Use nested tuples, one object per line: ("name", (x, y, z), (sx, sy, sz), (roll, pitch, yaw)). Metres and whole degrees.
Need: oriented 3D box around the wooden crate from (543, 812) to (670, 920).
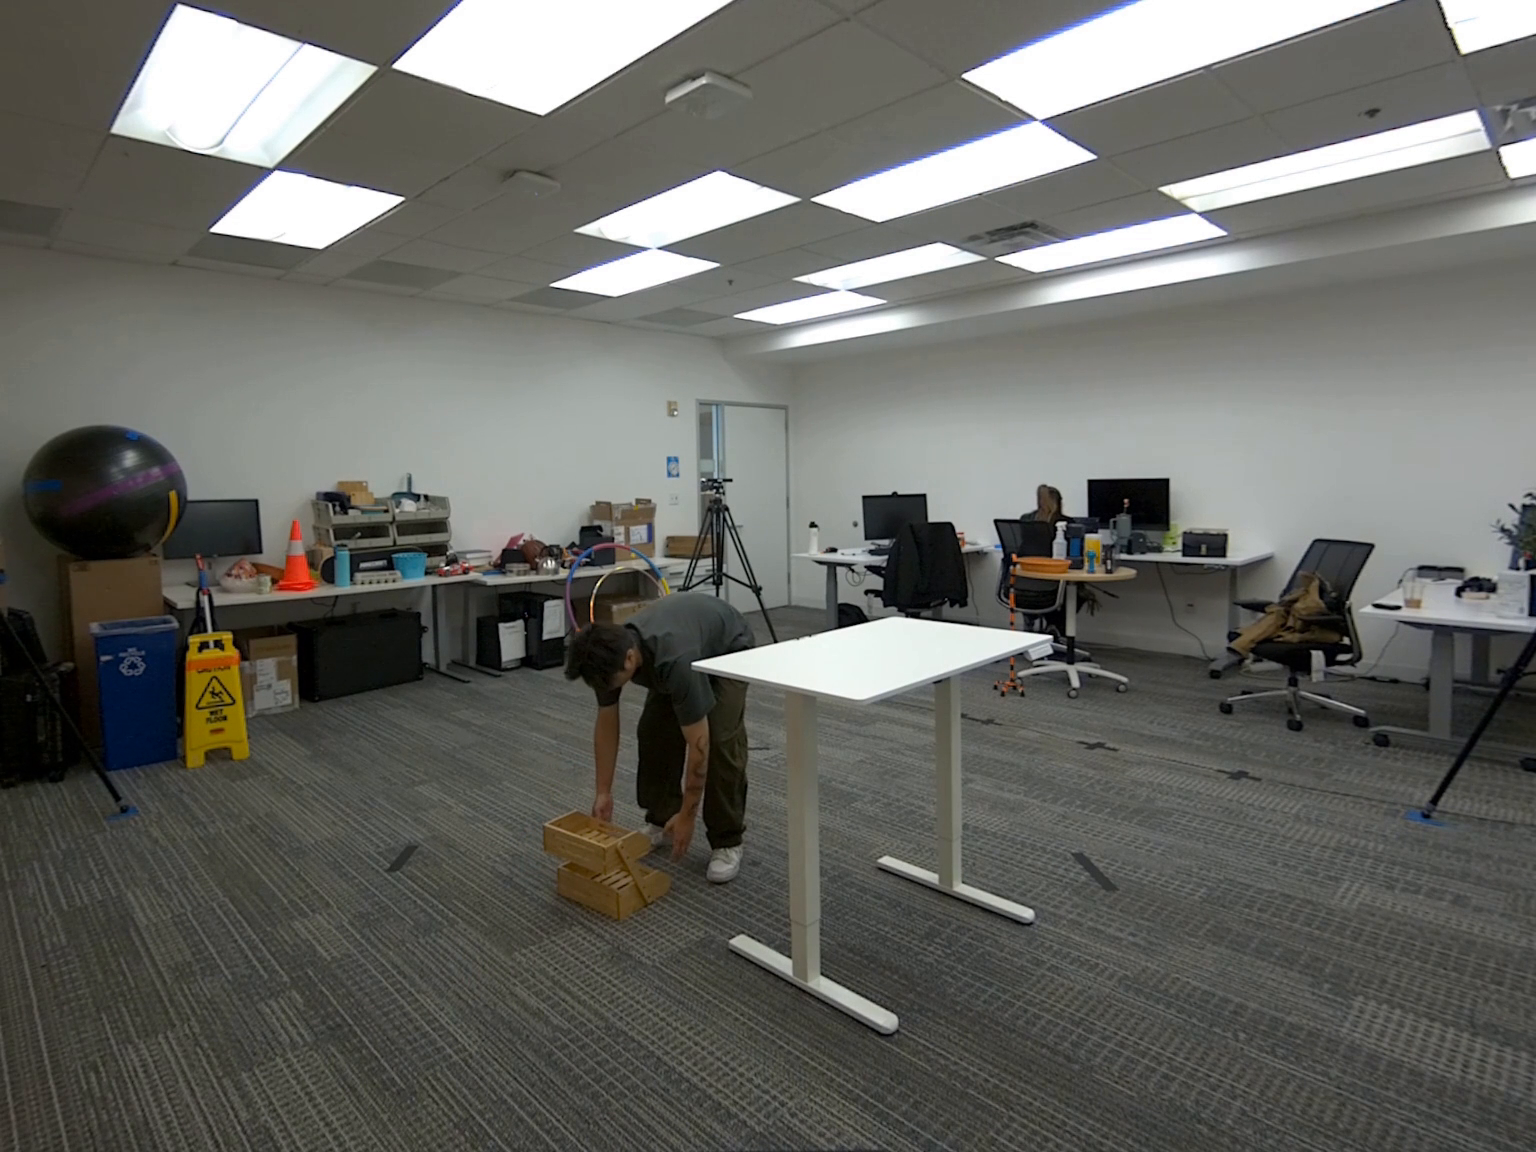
("wooden crate", (-0.532, 0.942, 2.884), (0.334, 0.272, 0.295), (3, 8, 37))
